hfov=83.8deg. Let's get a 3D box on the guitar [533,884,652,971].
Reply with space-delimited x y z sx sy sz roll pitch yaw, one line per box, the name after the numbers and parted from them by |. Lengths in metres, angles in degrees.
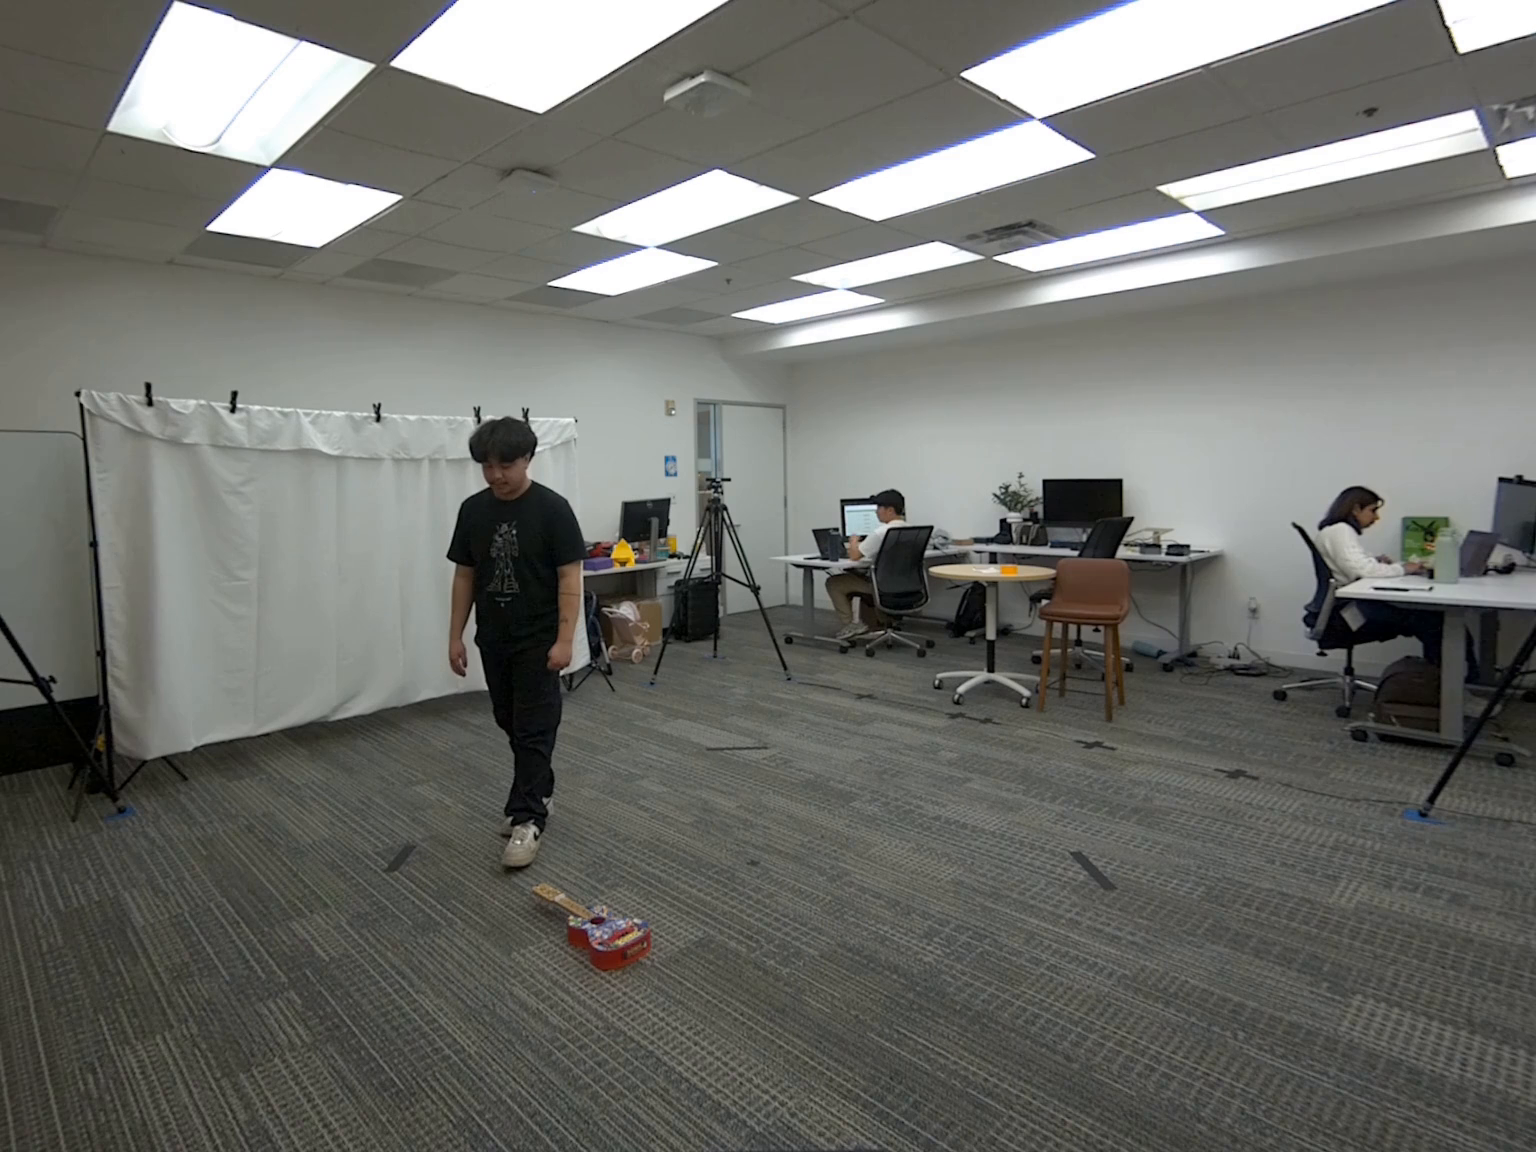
-0.552 1.071 2.670 0.188 0.070 0.513 -7 10 -38 | guitar
